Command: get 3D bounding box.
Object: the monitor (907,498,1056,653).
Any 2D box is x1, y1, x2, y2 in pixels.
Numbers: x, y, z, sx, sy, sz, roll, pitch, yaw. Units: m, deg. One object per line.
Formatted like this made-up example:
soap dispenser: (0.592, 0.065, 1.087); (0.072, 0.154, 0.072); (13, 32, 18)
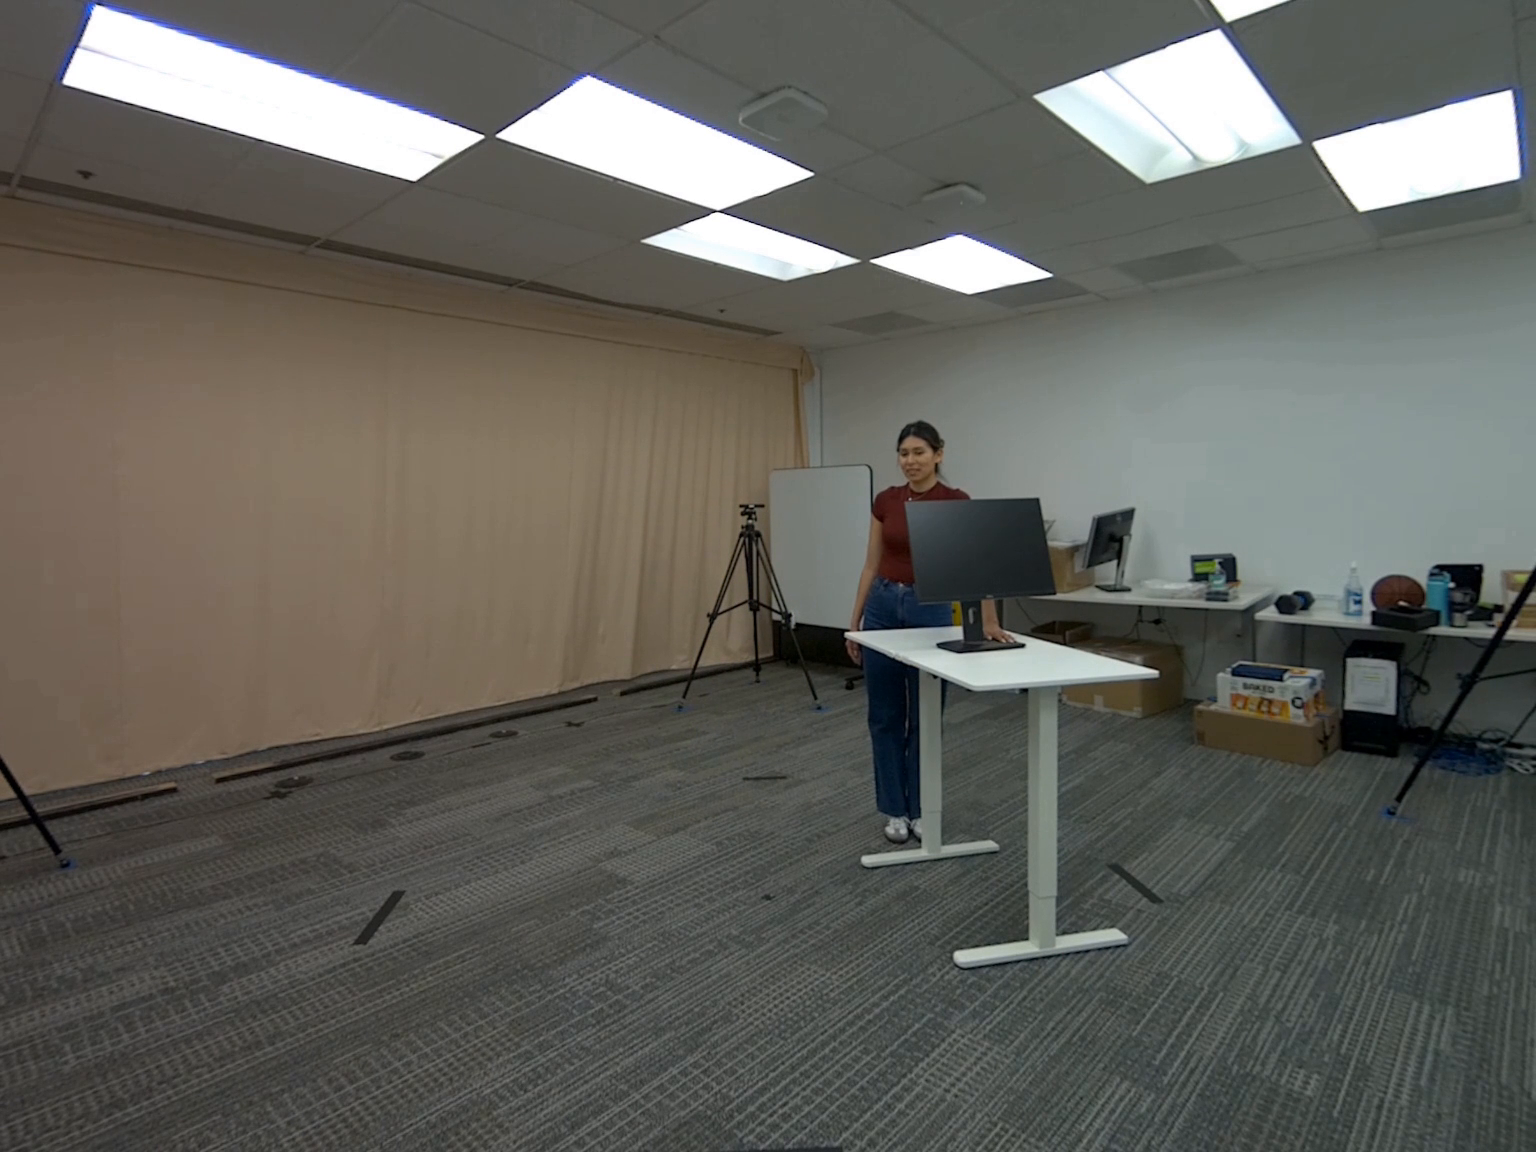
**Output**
monitor: (0.732, -0.008, 2.939); (0.529, 0.522, 0.191); (-3, 2, -18)
